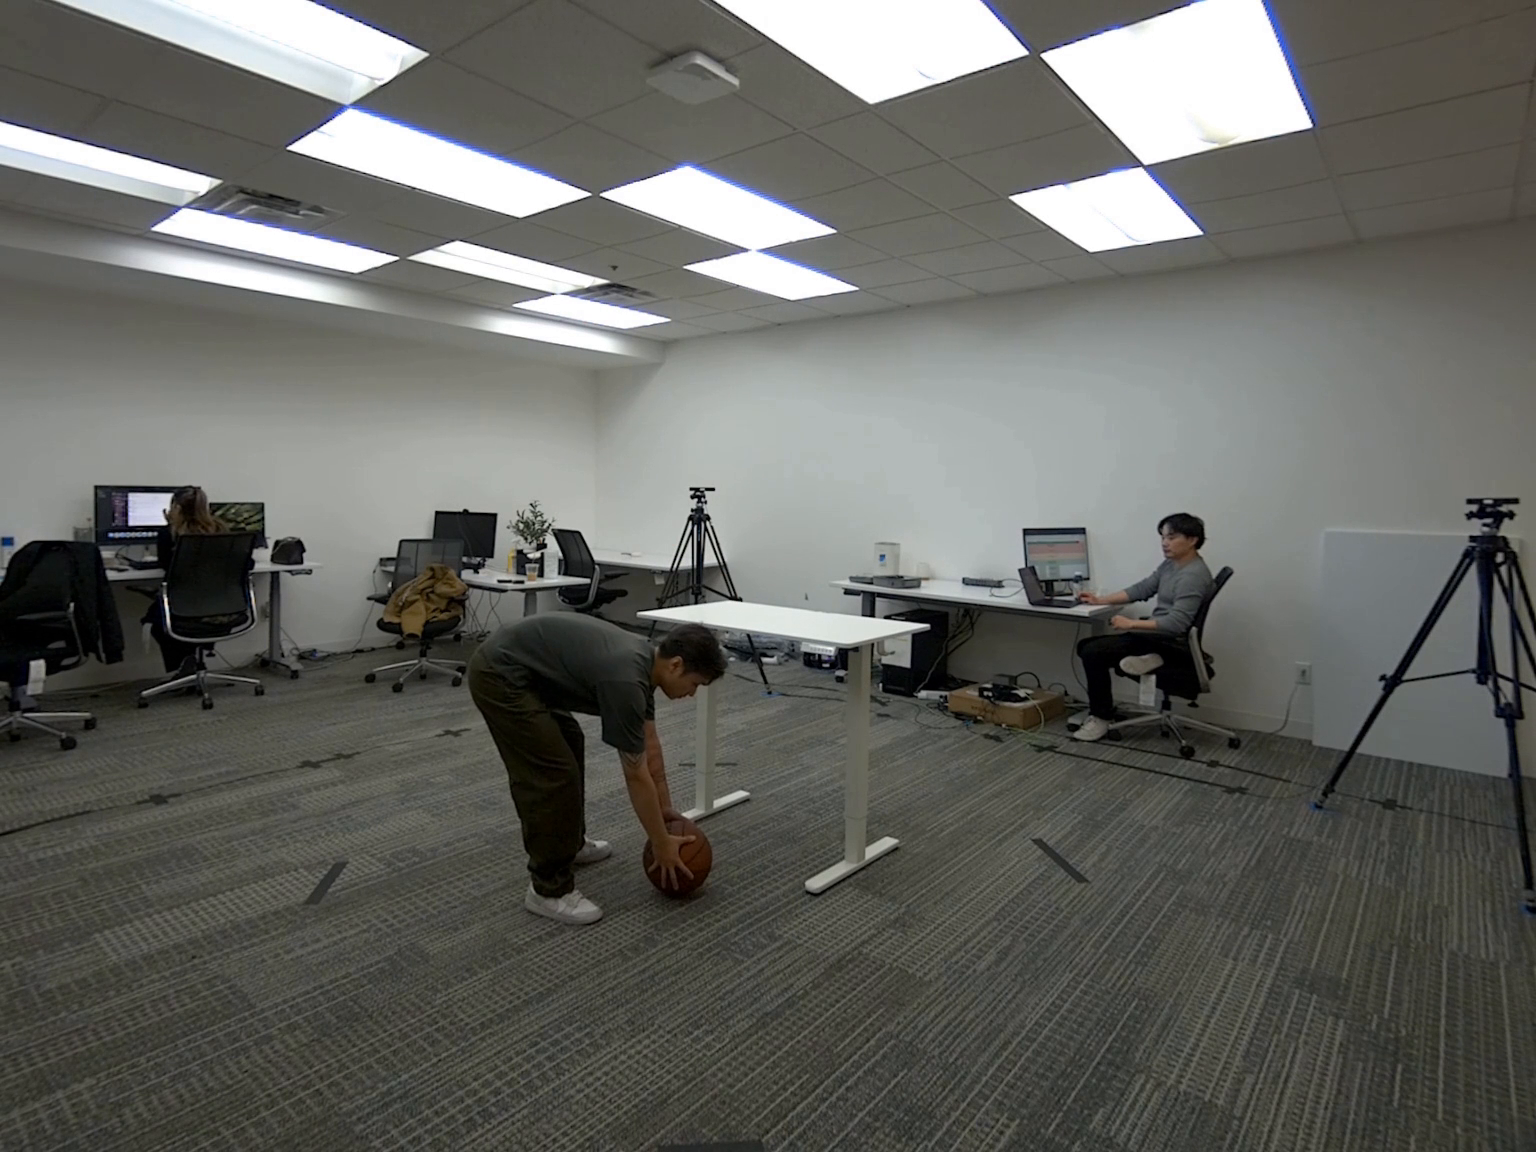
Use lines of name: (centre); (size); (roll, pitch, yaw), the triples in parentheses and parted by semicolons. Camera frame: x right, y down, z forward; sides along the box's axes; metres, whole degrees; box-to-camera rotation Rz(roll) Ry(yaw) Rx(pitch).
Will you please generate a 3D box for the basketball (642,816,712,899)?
basketball: (-0.323, 0.960, 2.912); (0.235, 0.235, 0.237); (1, 4, -2)
